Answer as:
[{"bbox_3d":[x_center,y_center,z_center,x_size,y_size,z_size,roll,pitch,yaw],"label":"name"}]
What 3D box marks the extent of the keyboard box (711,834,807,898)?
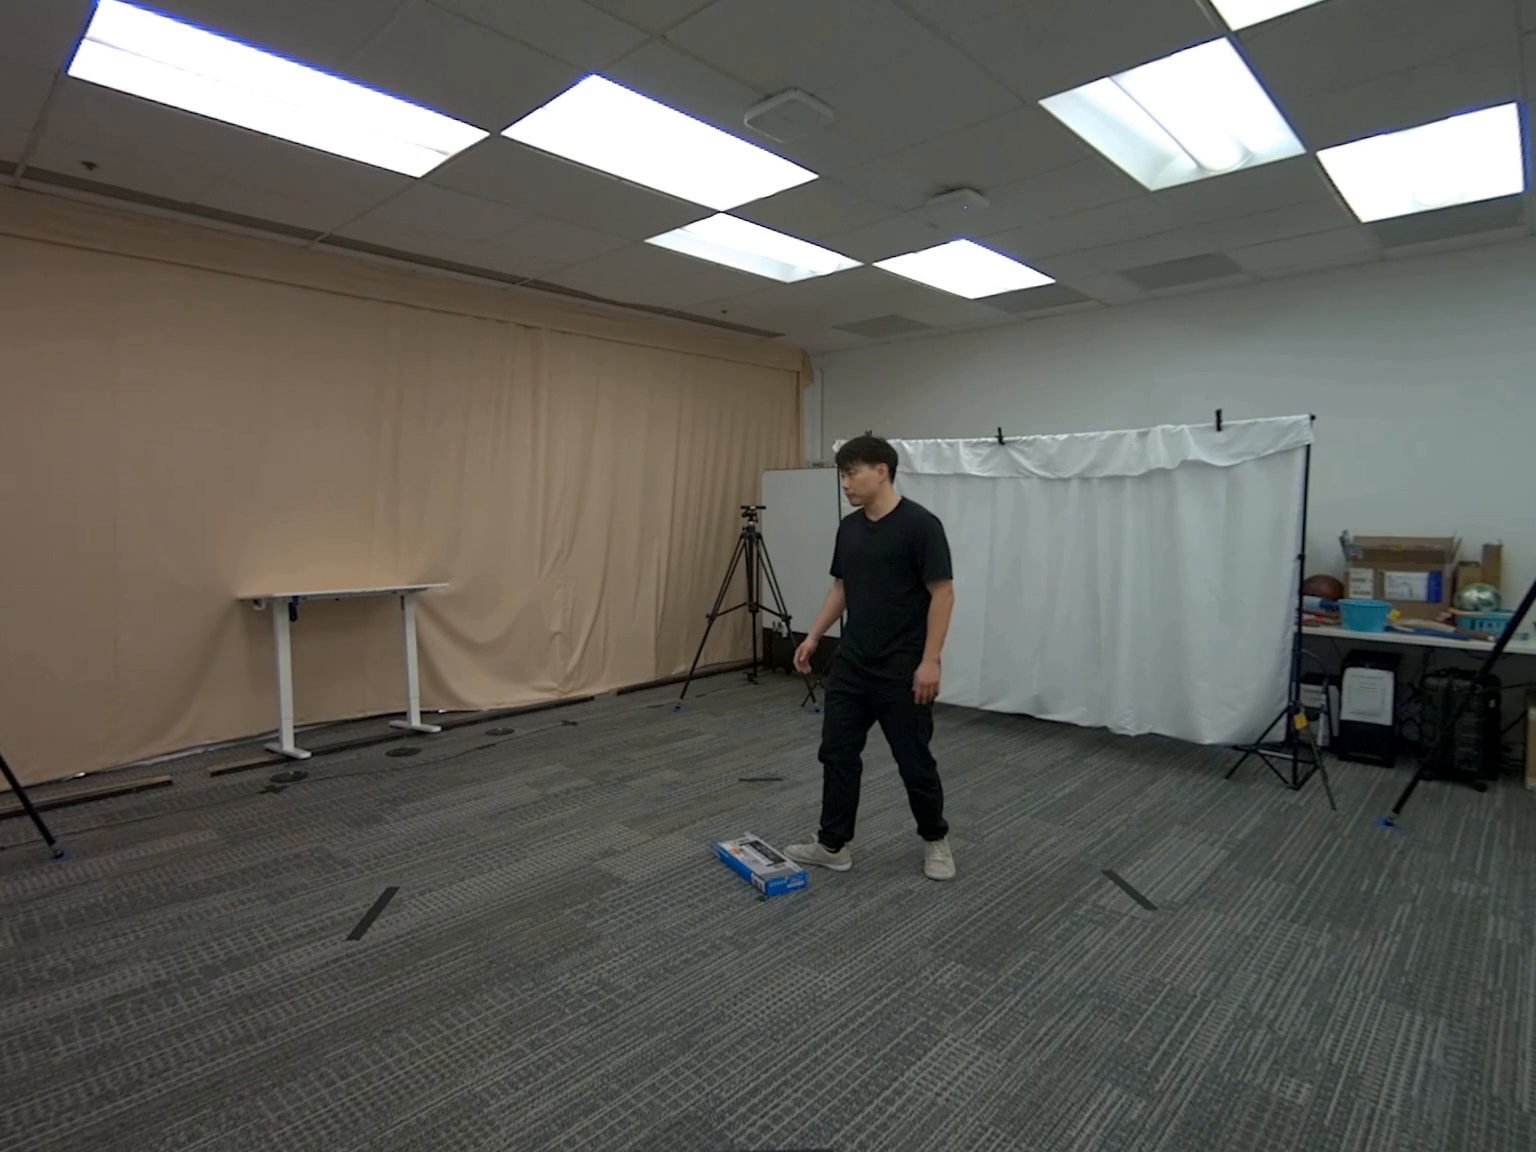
[{"bbox_3d":[-0.045,1.092,3.223,0.171,0.059,0.449,-4,6,-30],"label":"keyboard box"}]
